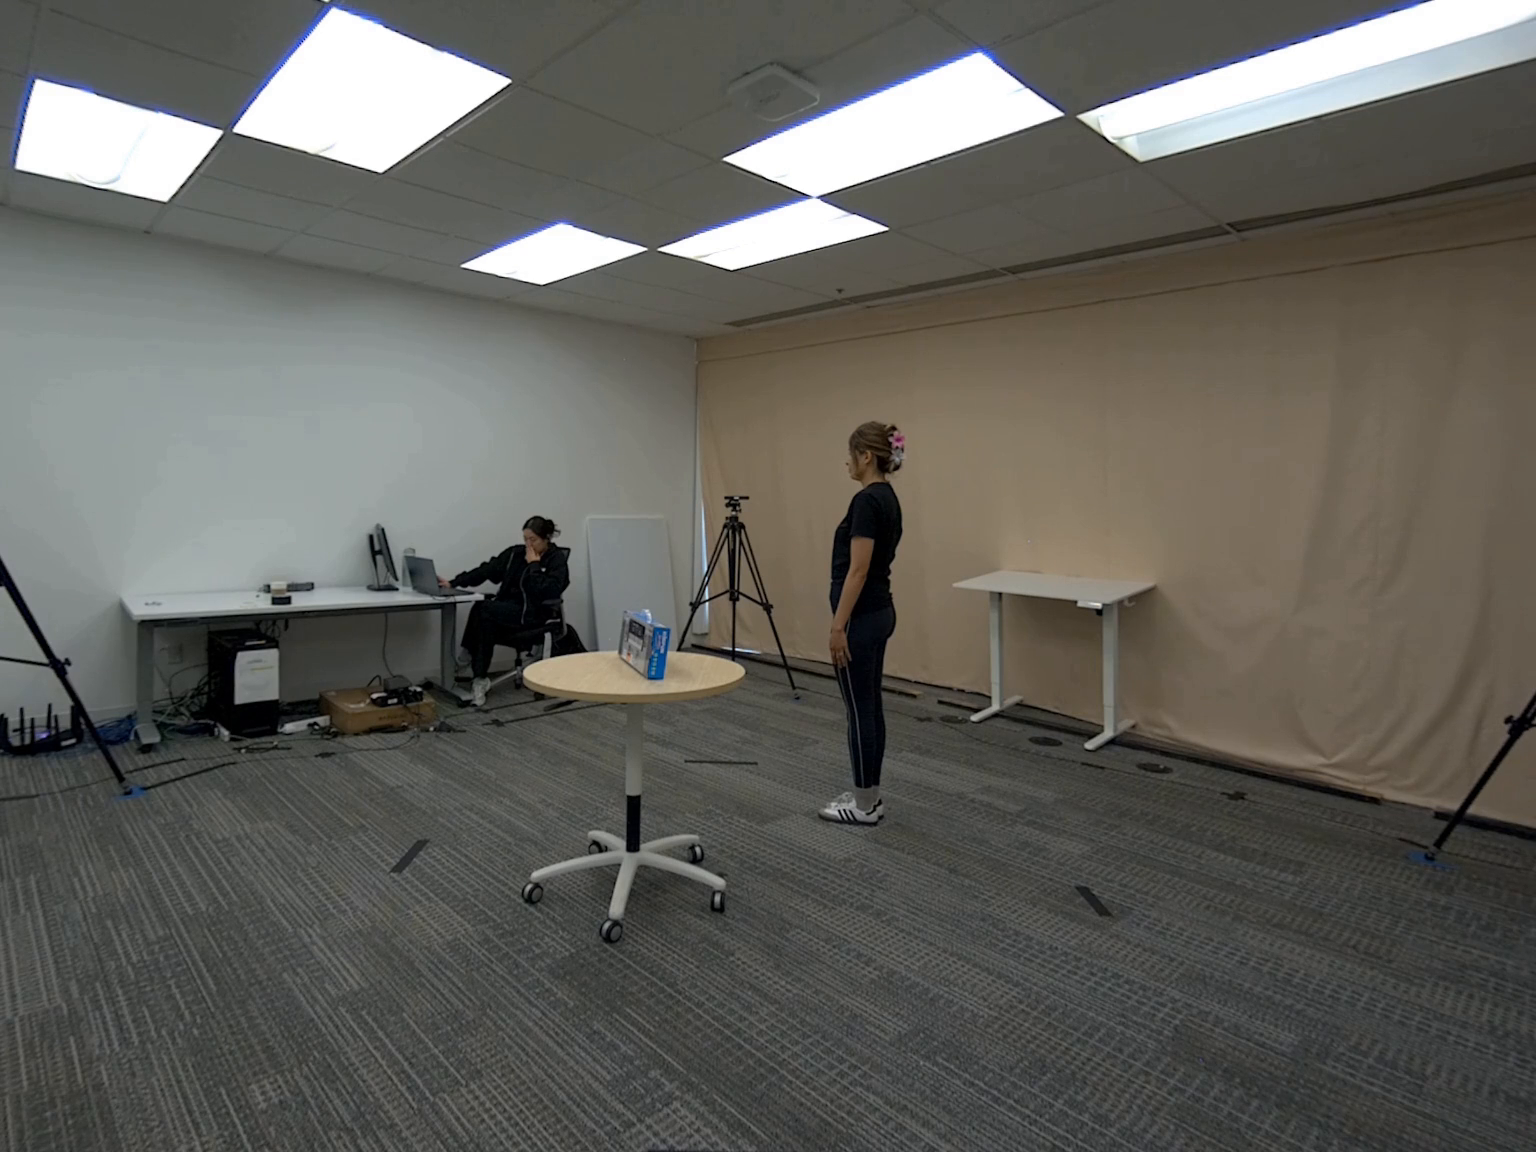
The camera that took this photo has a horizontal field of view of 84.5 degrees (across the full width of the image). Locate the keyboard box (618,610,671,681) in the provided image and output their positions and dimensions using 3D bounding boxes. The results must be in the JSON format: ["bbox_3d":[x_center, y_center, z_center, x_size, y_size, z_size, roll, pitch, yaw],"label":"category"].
[{"bbox_3d":[-0.448,0.239,2.968,0.058,0.176,0.445,8,2,-22],"label":"keyboard box"}]
